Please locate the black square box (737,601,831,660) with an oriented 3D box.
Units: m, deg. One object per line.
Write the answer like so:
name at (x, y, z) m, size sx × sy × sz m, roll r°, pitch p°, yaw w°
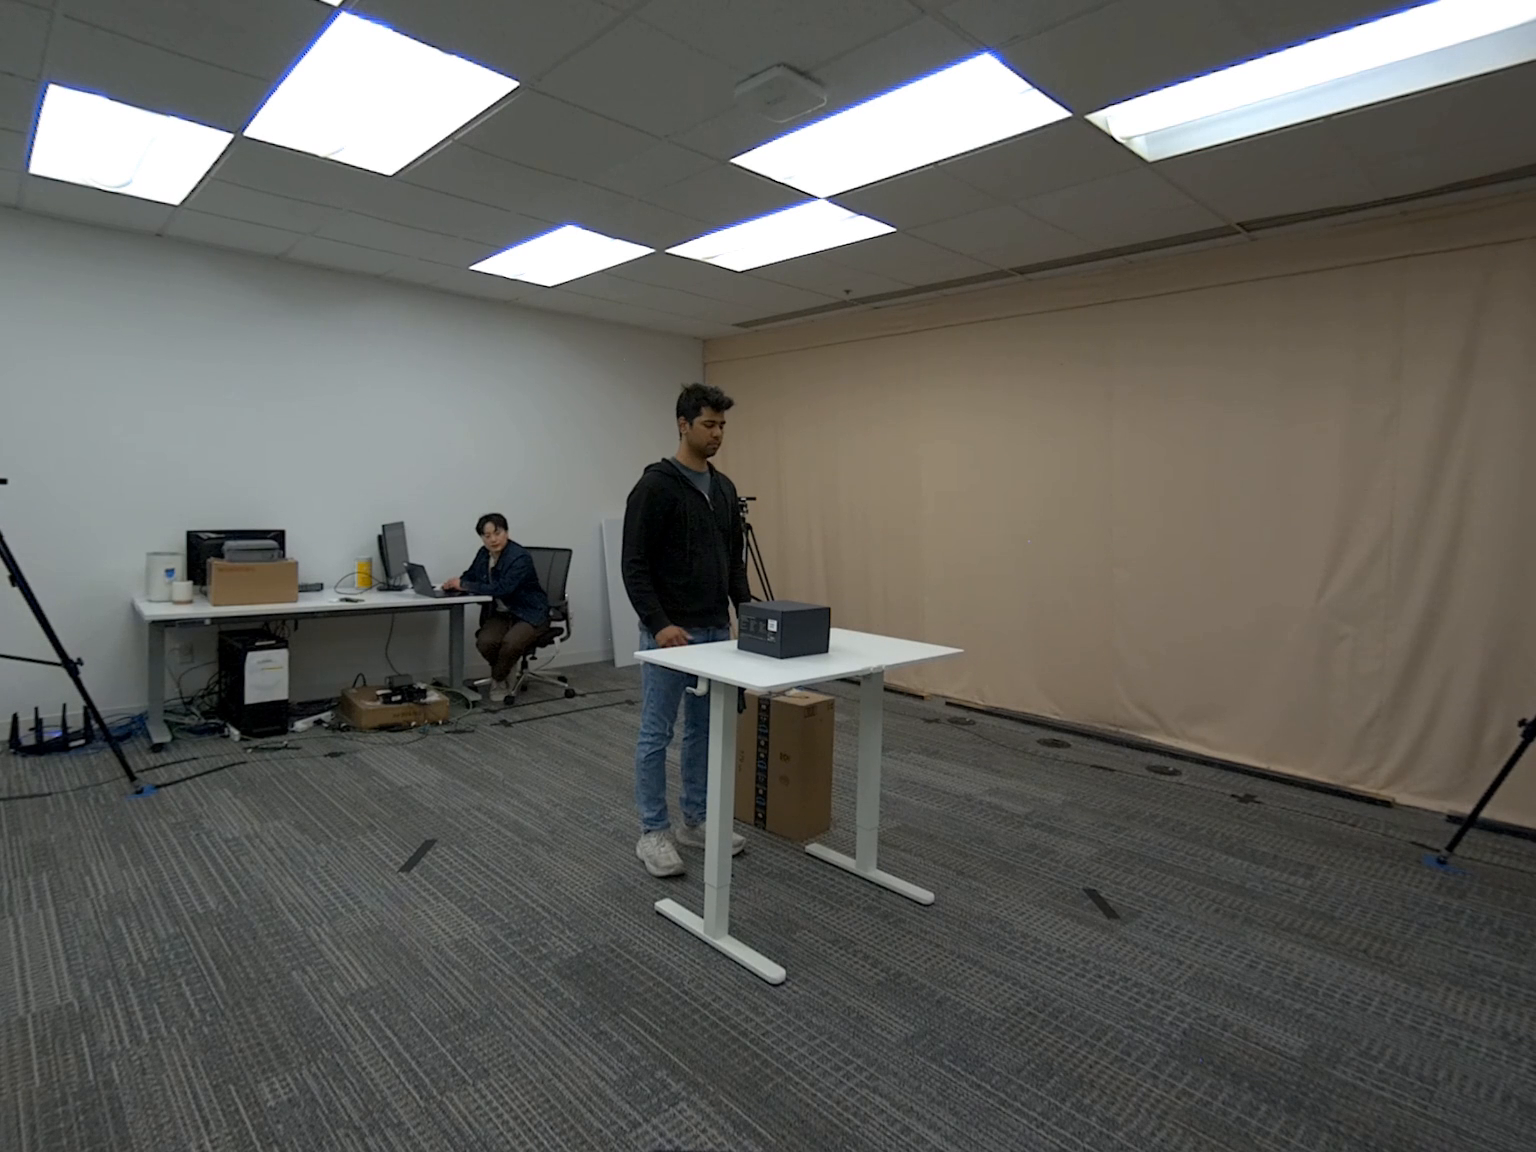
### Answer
black square box at (0.046, 0.175, 2.827) m, size 0.223 × 0.155 × 0.222 m, roll -3°, pitch 6°, yaw -42°
